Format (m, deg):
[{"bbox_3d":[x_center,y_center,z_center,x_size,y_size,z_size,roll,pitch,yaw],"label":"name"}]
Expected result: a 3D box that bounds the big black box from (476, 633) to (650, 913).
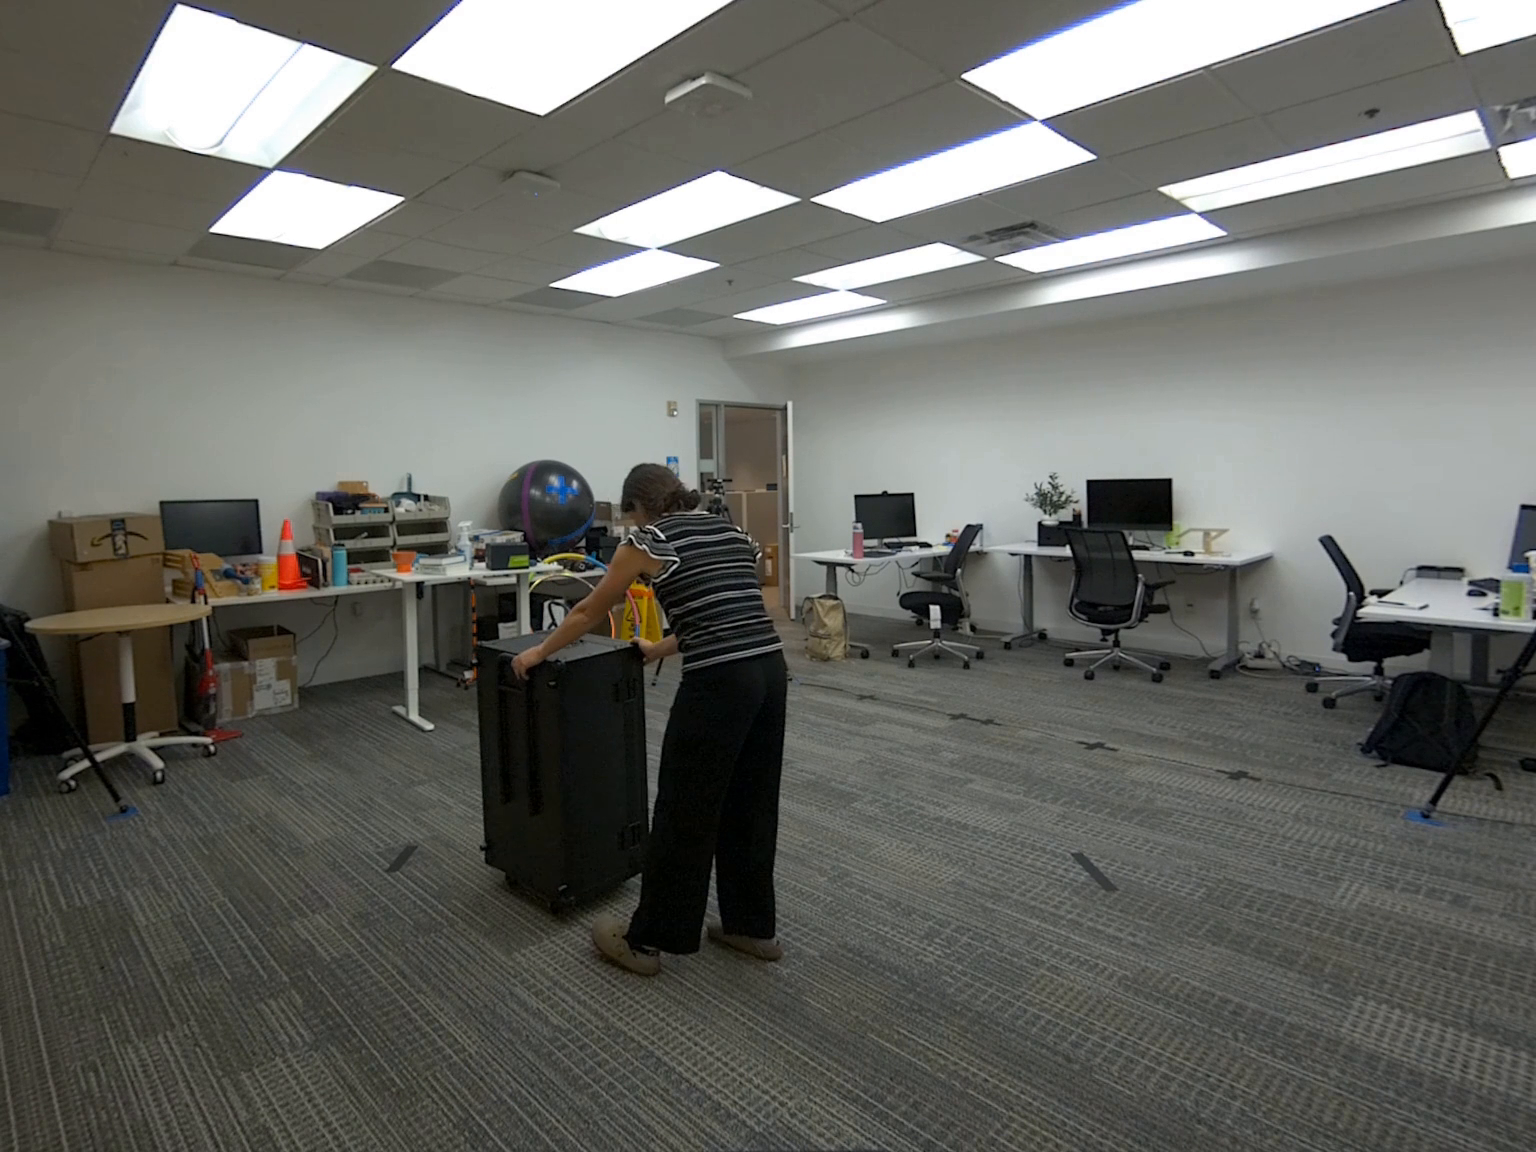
[{"bbox_3d":[-0.705,0.656,2.922,0.537,0.857,0.386,4,7,42],"label":"big black box"}]
